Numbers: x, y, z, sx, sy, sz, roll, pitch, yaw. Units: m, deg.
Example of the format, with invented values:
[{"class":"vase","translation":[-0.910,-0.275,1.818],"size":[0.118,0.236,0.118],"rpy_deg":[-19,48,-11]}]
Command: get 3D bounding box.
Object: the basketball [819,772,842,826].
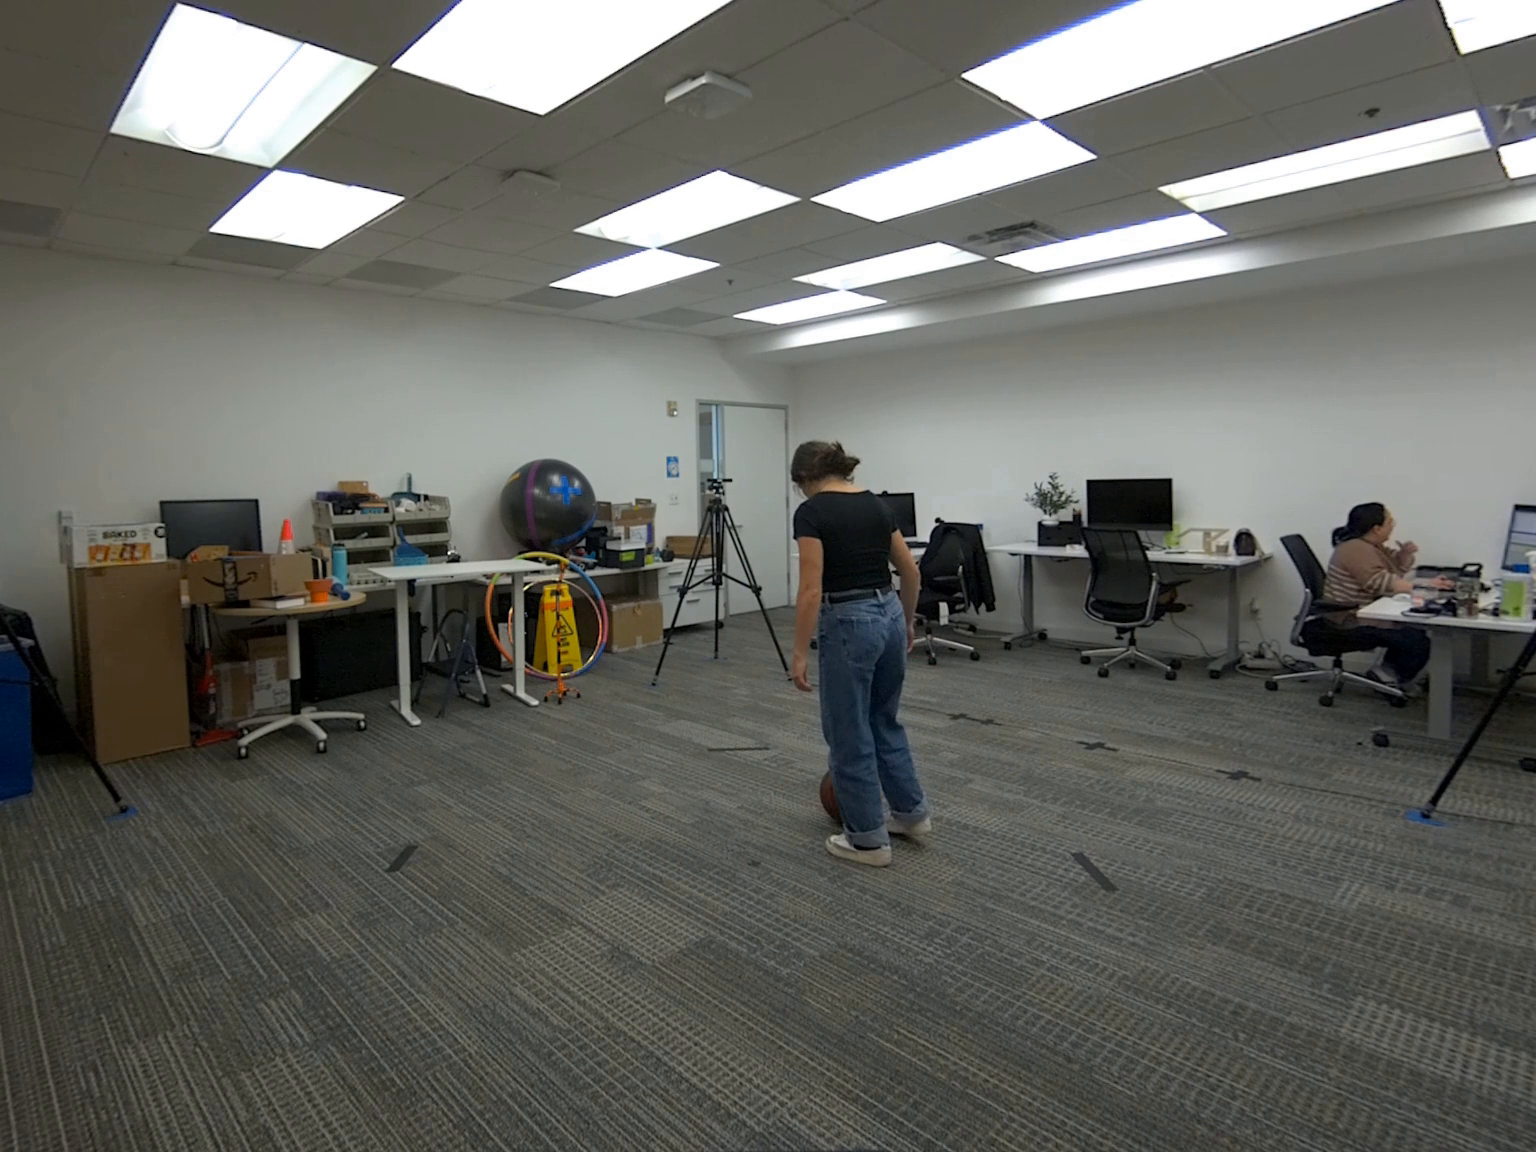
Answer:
[{"class":"basketball","translation":[0.336,0.878,3.459],"size":[0.236,0.235,0.237],"rpy_deg":[-1,5,-2]}]
